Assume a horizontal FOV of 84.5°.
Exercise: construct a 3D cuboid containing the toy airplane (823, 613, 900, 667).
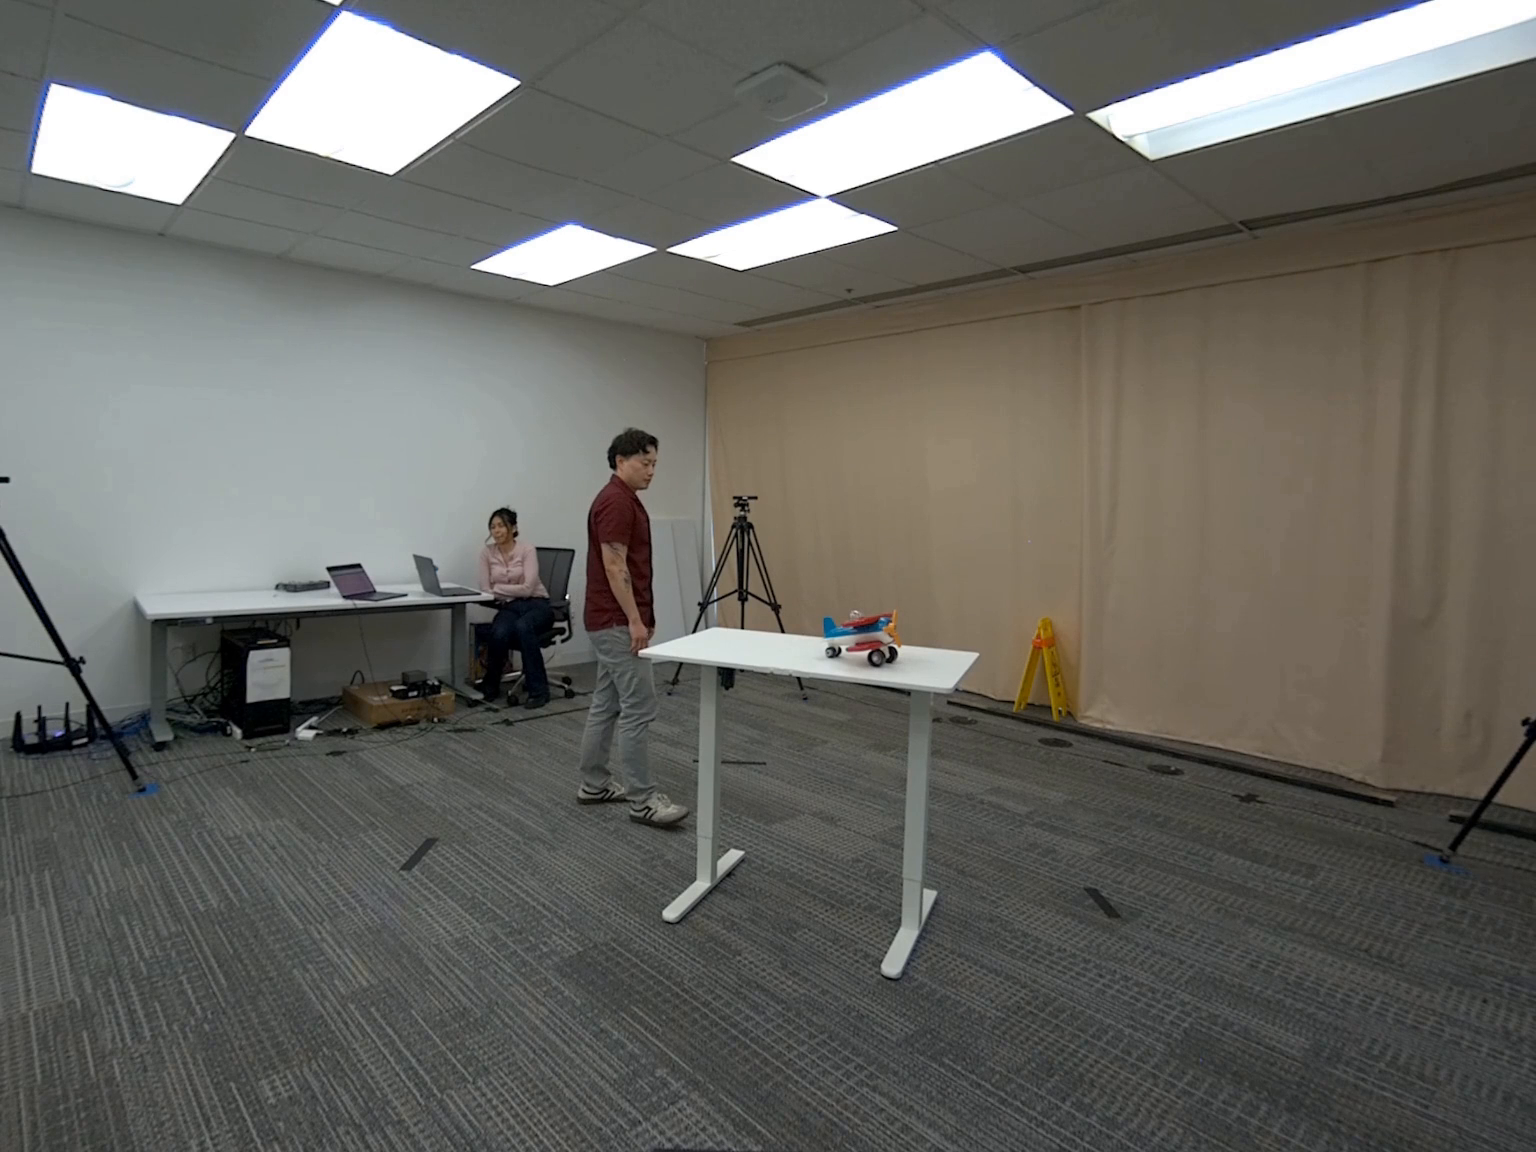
[{"bbox_3d":[0.278,0.199,2.665,0.261,0.156,0.250,2,6,8],"label":"toy airplane"}]
